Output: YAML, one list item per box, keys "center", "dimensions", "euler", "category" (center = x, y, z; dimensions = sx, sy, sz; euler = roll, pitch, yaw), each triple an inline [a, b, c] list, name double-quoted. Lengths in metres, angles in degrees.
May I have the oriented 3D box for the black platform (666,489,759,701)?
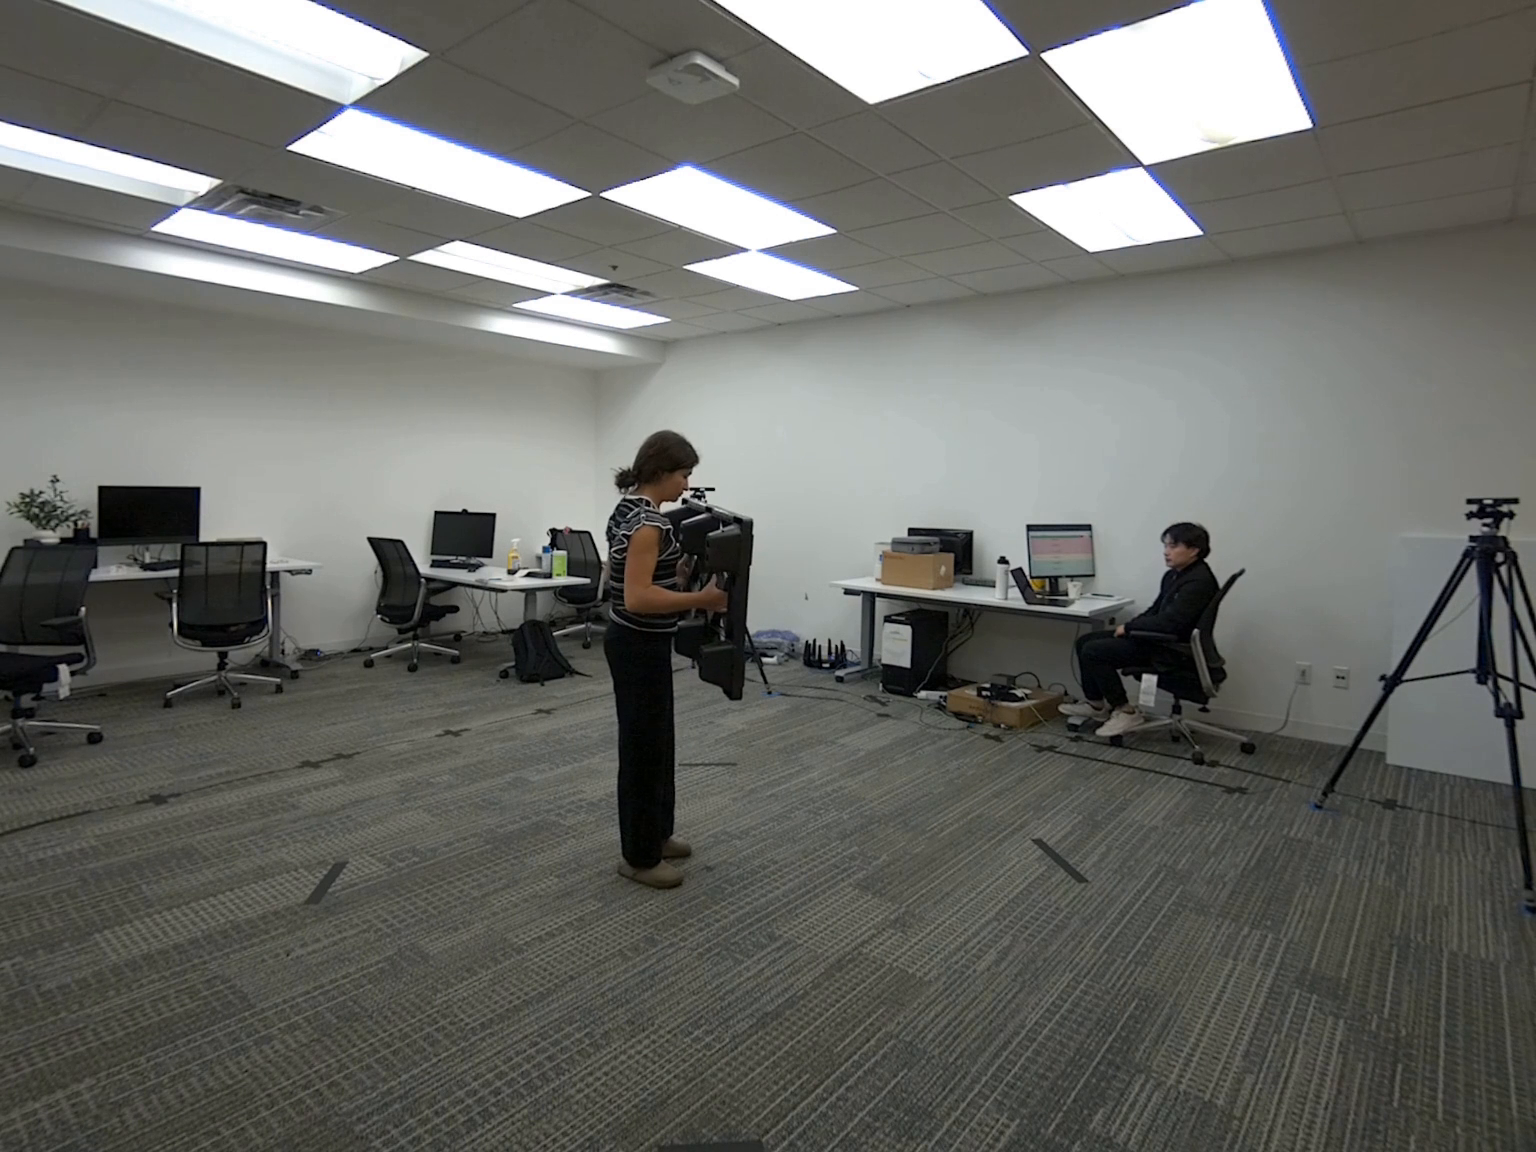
- center: [-0.269, 0.049, 3.089]
  dimensions: [0.141, 0.600, 0.827]
  euler: [-1, 9, -19]
  category: "black platform"
